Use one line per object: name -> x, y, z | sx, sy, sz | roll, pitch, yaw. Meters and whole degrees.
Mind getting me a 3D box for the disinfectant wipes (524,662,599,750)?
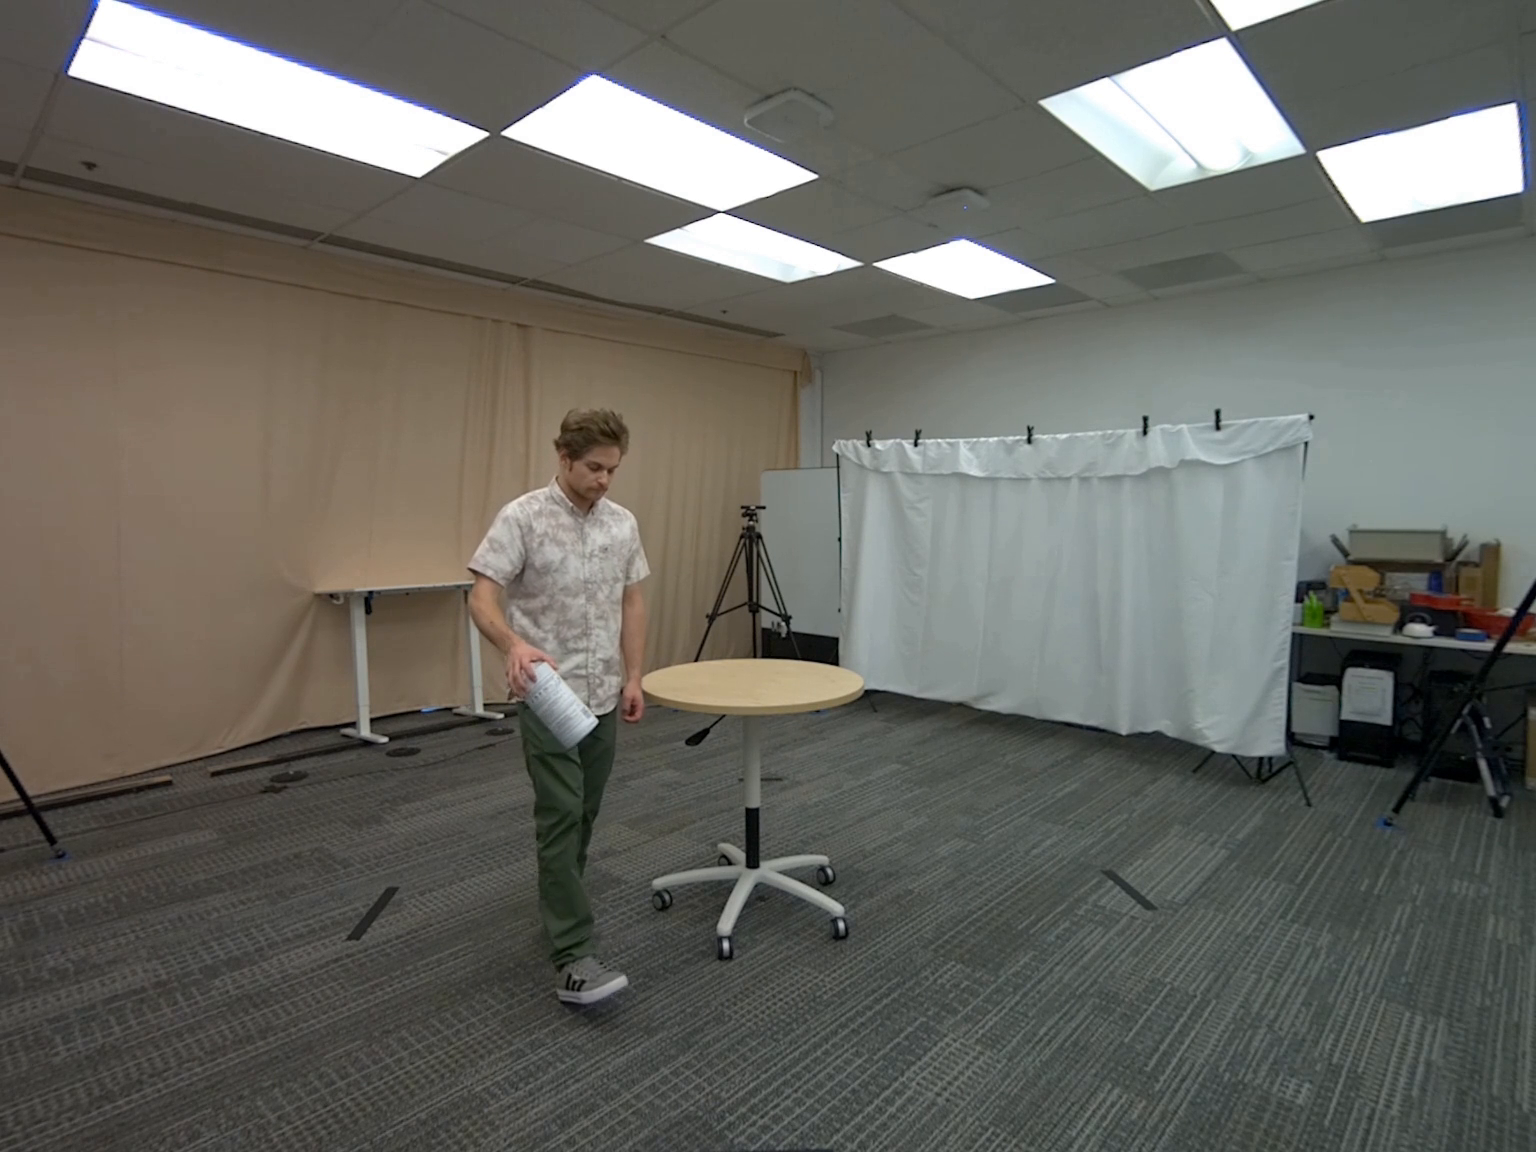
disinfectant wipes -> -0.548, 0.337, 2.196 | 0.118, 0.218, 0.118 | -40, 0, -2
